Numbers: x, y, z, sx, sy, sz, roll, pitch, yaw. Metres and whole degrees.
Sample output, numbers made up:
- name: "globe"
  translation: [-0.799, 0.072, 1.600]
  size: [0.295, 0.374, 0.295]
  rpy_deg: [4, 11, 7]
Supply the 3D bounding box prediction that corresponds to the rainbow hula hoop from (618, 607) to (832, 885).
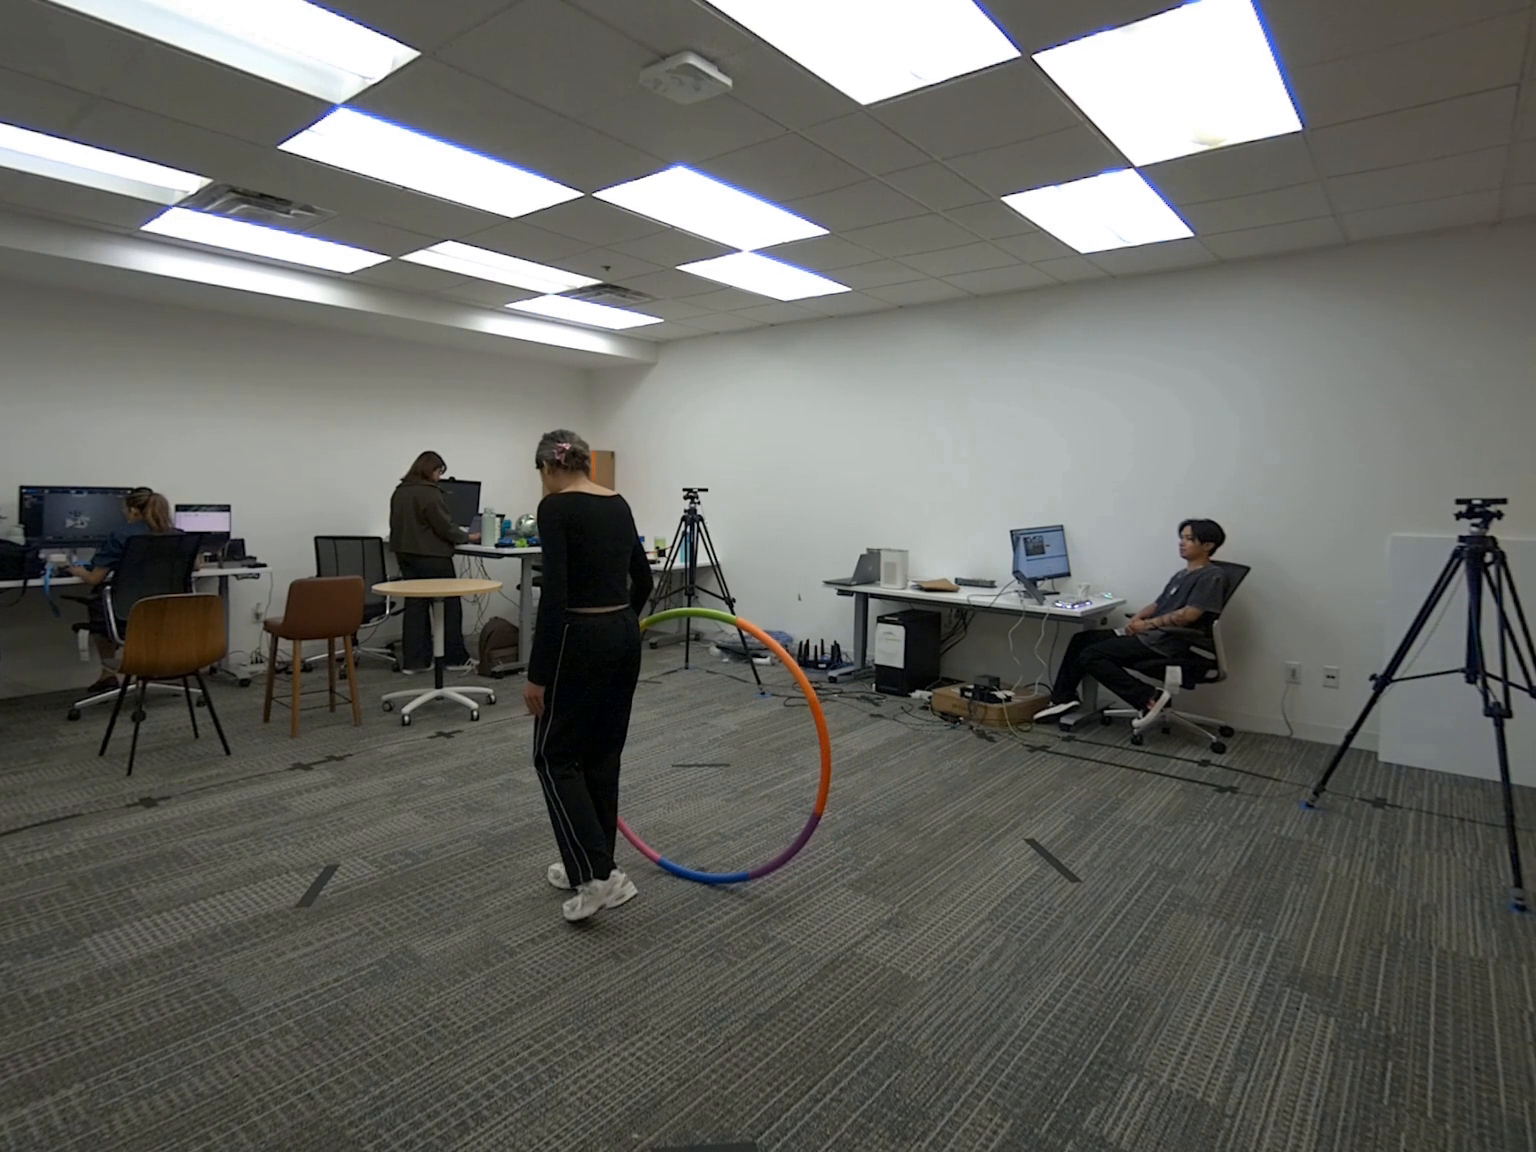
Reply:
- name: "rainbow hula hoop"
  translation: [-0.253, 0.597, 2.999]
  size: [1.006, 0.976, 0.034]
  rpy_deg: [3, 3, 28]
